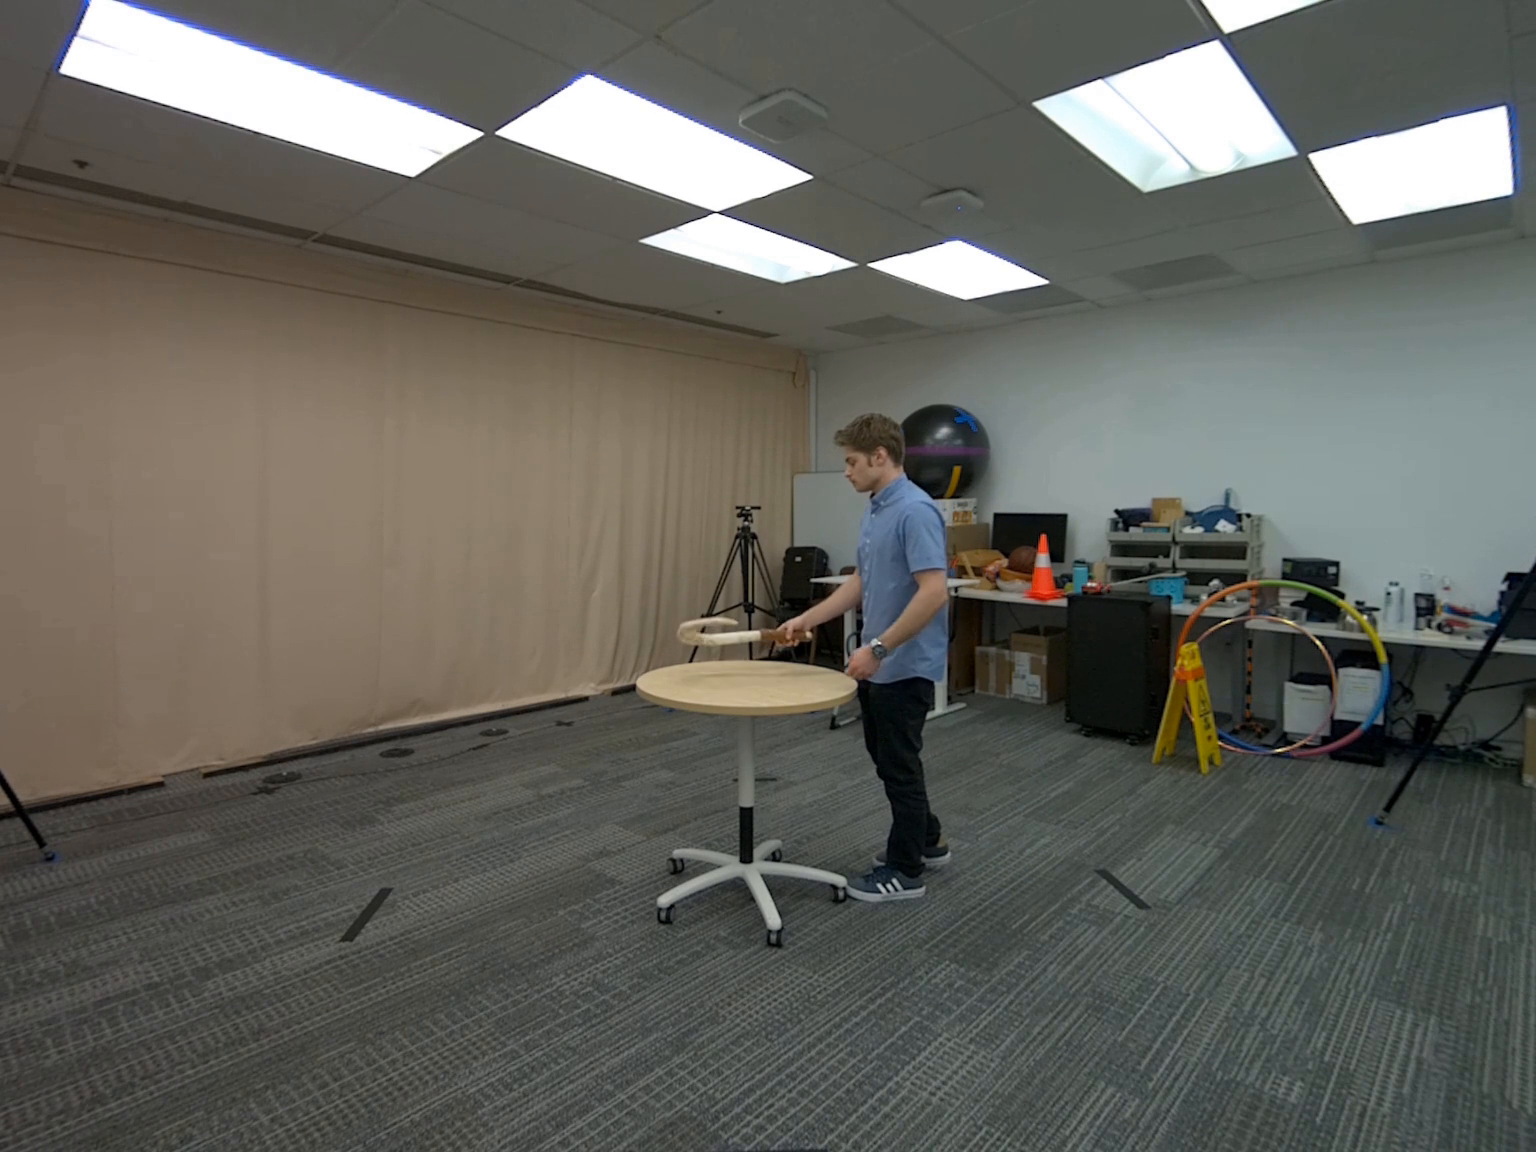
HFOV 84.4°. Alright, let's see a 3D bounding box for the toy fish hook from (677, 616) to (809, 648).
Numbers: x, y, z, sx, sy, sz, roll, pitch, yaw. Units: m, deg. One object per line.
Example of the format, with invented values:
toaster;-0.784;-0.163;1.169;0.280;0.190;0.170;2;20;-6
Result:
toy fish hook;-0.054;0.194;2.999;0.500;0.049;0.224;1;-19;-11
